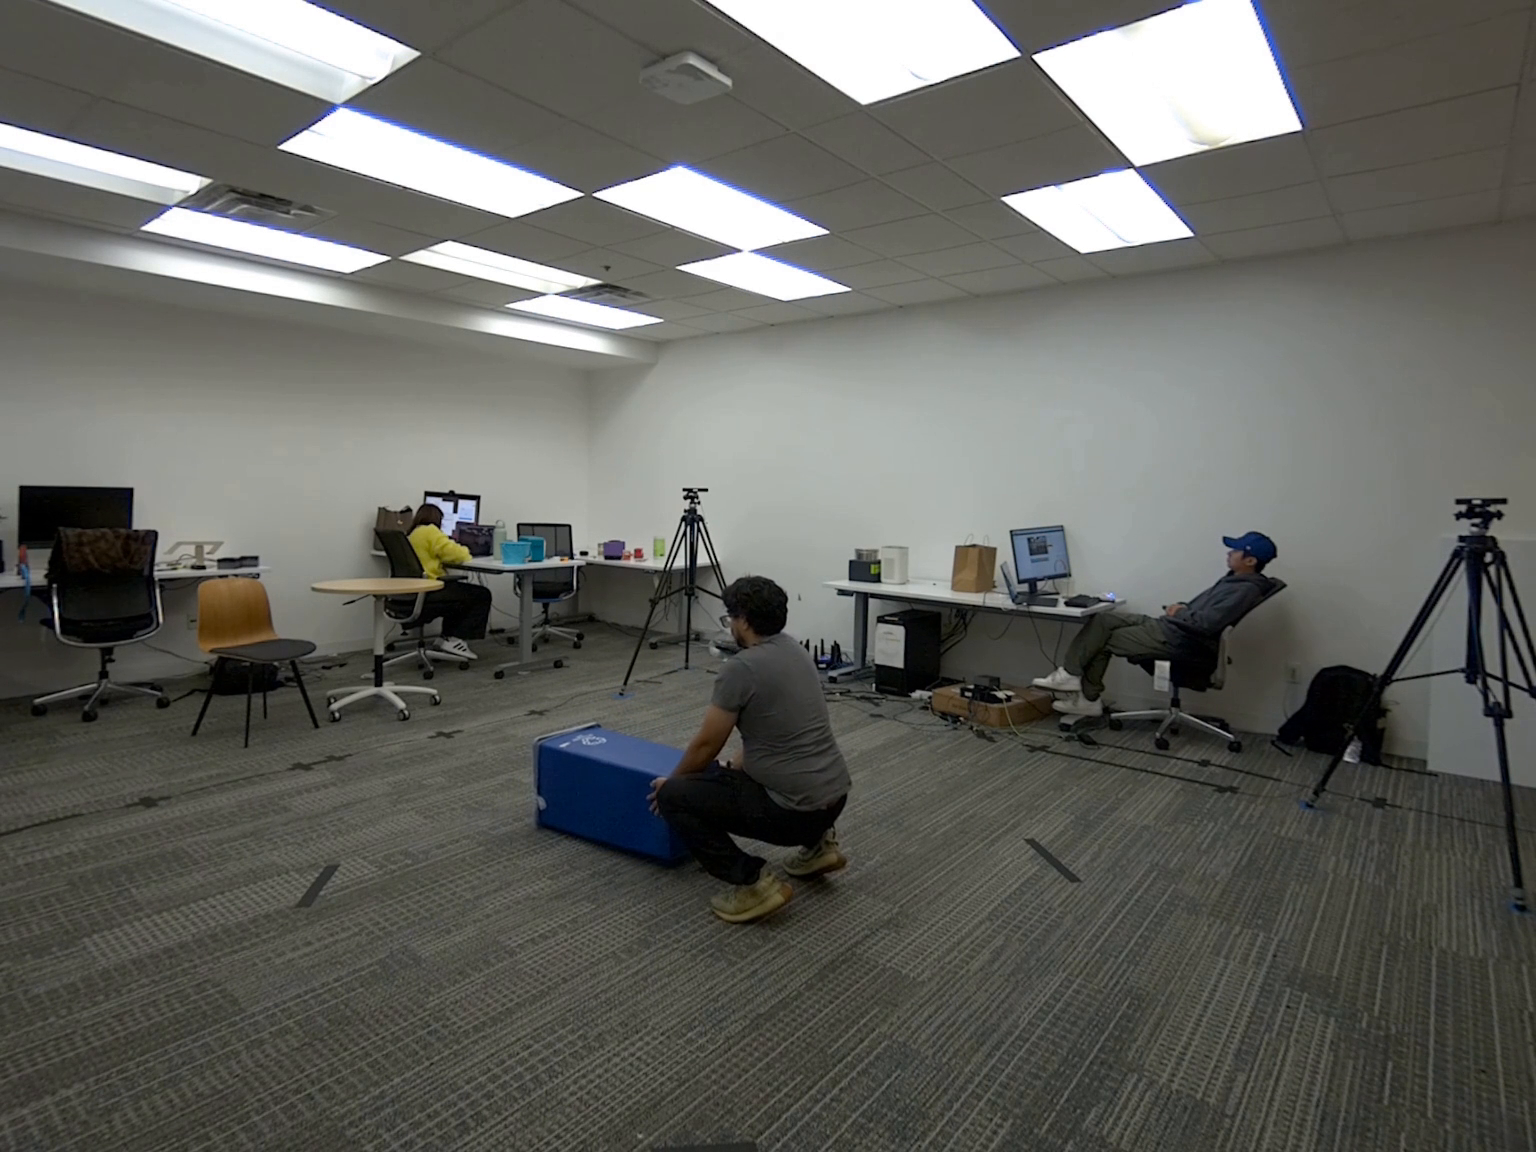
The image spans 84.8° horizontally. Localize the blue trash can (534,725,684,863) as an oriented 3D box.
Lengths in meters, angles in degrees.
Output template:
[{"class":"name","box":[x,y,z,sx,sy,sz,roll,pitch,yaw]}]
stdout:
[{"class":"blue trash can","box":[-0.571,0.850,3.371,0.737,0.377,0.363,4,4,37]}]
